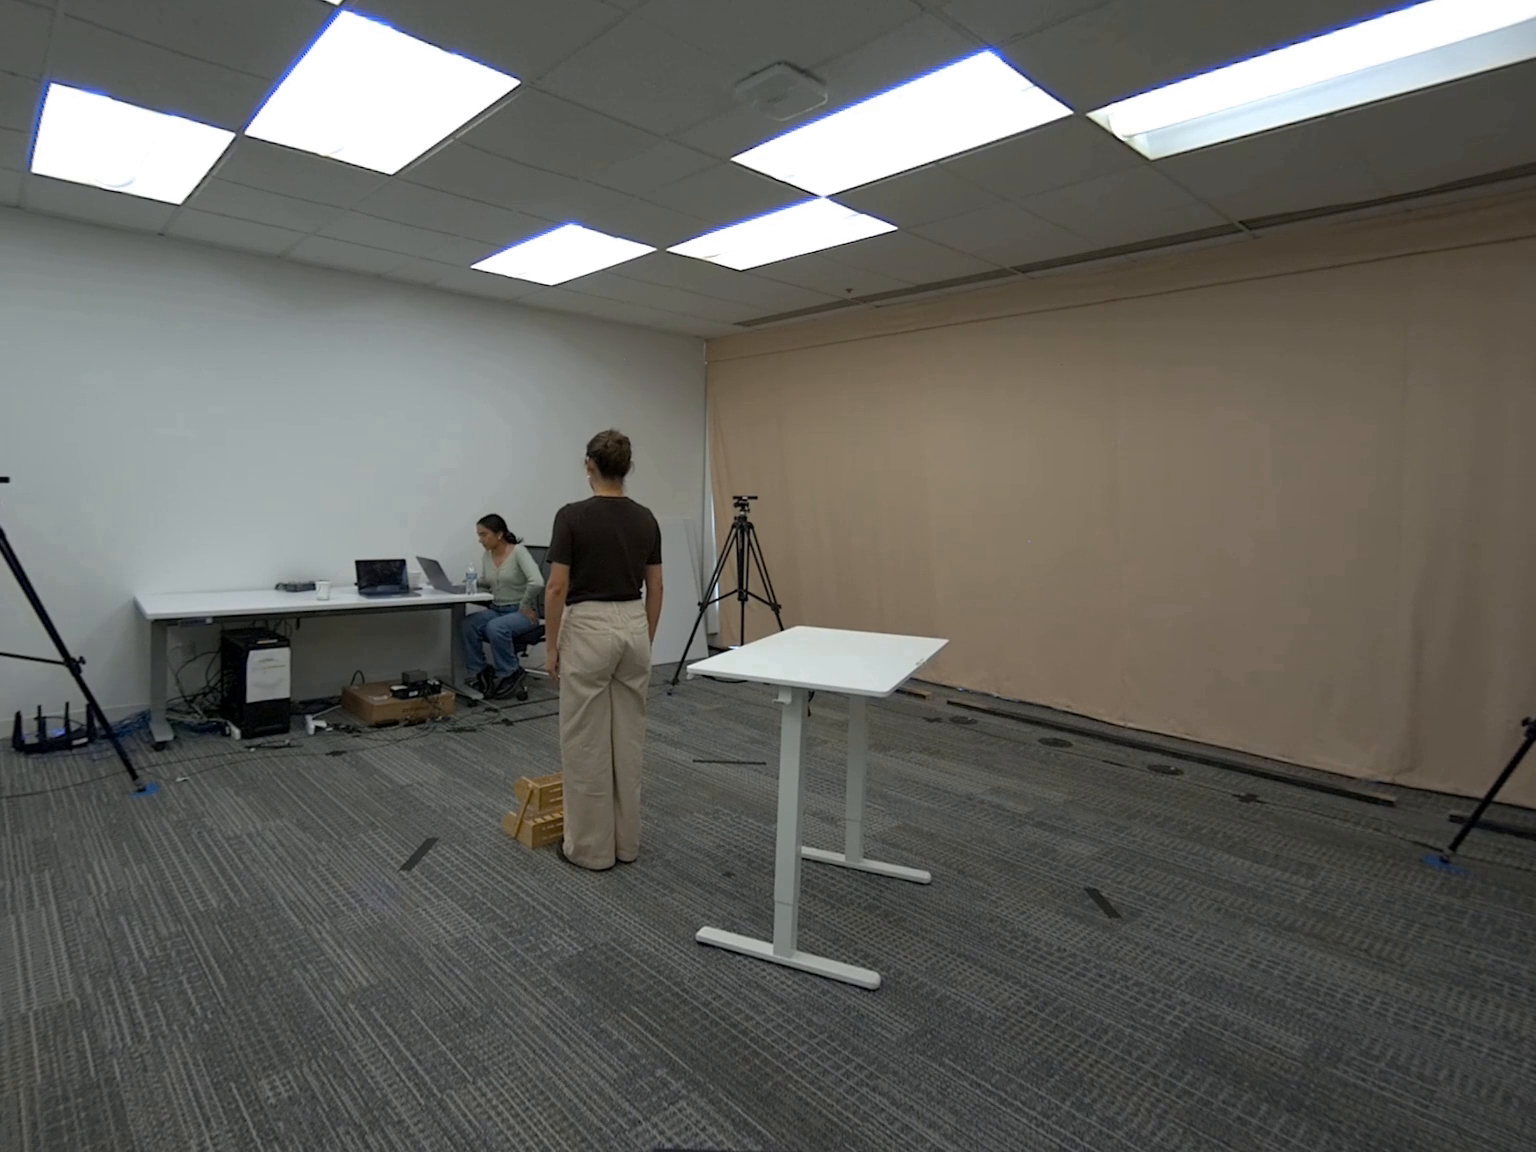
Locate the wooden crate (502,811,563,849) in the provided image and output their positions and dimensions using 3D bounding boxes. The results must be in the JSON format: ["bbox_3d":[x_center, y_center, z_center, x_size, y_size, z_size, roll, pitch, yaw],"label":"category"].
[{"bbox_3d":[-0.896,0.925,3.461,0.317,0.272,0.310,-3,7,-44],"label":"wooden crate"}]
